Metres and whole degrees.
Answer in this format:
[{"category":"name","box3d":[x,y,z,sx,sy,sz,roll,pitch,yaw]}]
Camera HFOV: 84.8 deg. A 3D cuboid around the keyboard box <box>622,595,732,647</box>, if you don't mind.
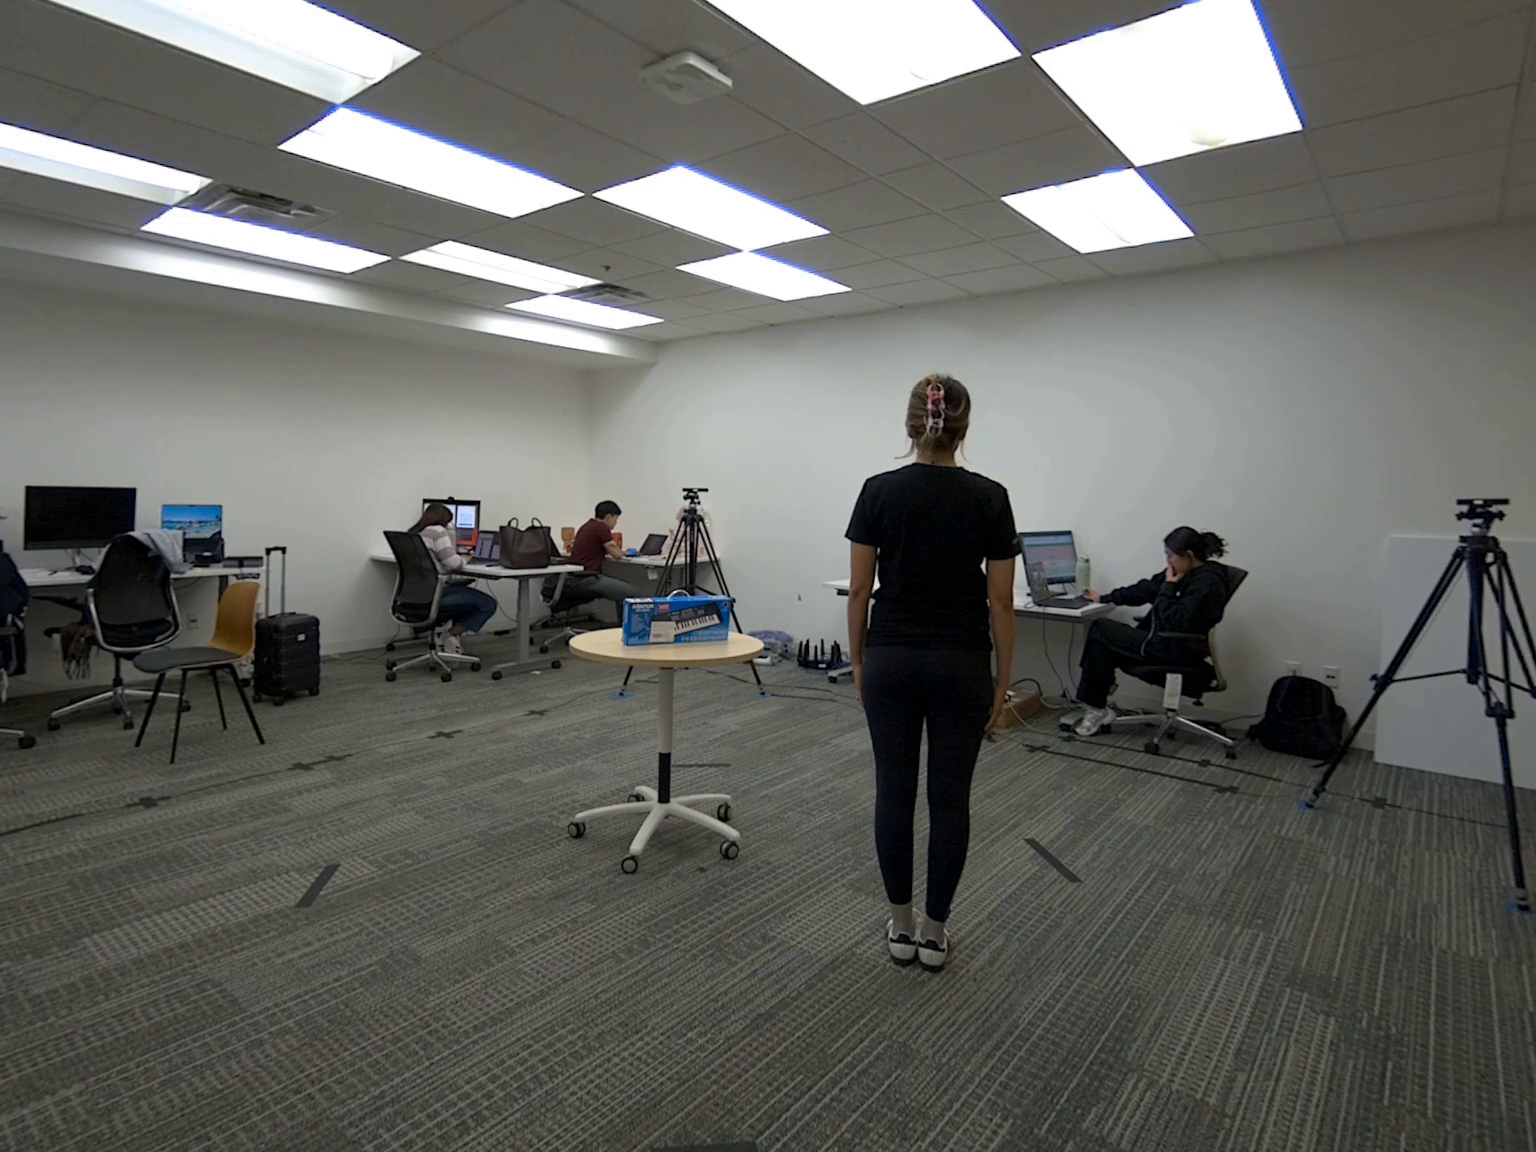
[{"category":"keyboard box","box3d":[-0.372,0.173,3.350,0.426,0.174,0.061,-1,11,-27]}]
